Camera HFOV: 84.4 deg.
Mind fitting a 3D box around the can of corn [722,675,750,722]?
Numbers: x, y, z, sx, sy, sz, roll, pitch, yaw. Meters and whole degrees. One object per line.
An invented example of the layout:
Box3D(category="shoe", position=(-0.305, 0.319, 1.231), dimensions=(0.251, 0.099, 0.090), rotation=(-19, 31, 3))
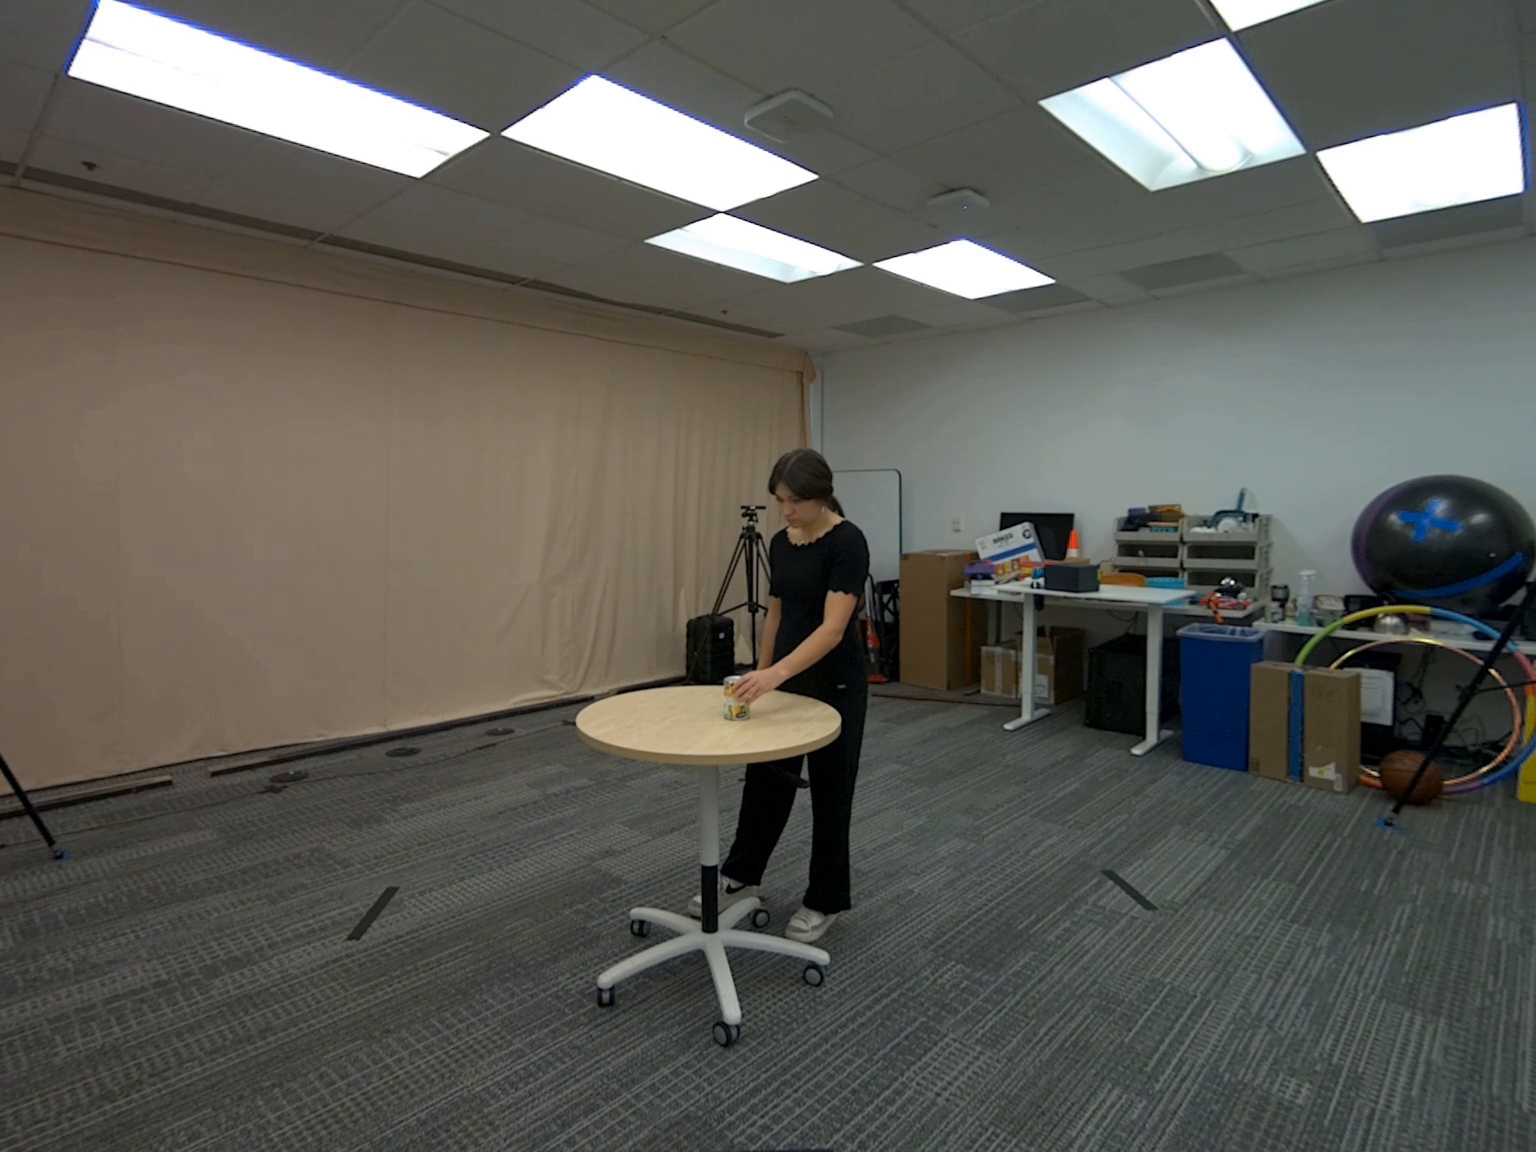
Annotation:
Box3D(category="can of corn", position=(-0.085, 0.357, 2.408), dimensions=(0.074, 0.110, 0.074), rotation=(-2, 5, -2))
